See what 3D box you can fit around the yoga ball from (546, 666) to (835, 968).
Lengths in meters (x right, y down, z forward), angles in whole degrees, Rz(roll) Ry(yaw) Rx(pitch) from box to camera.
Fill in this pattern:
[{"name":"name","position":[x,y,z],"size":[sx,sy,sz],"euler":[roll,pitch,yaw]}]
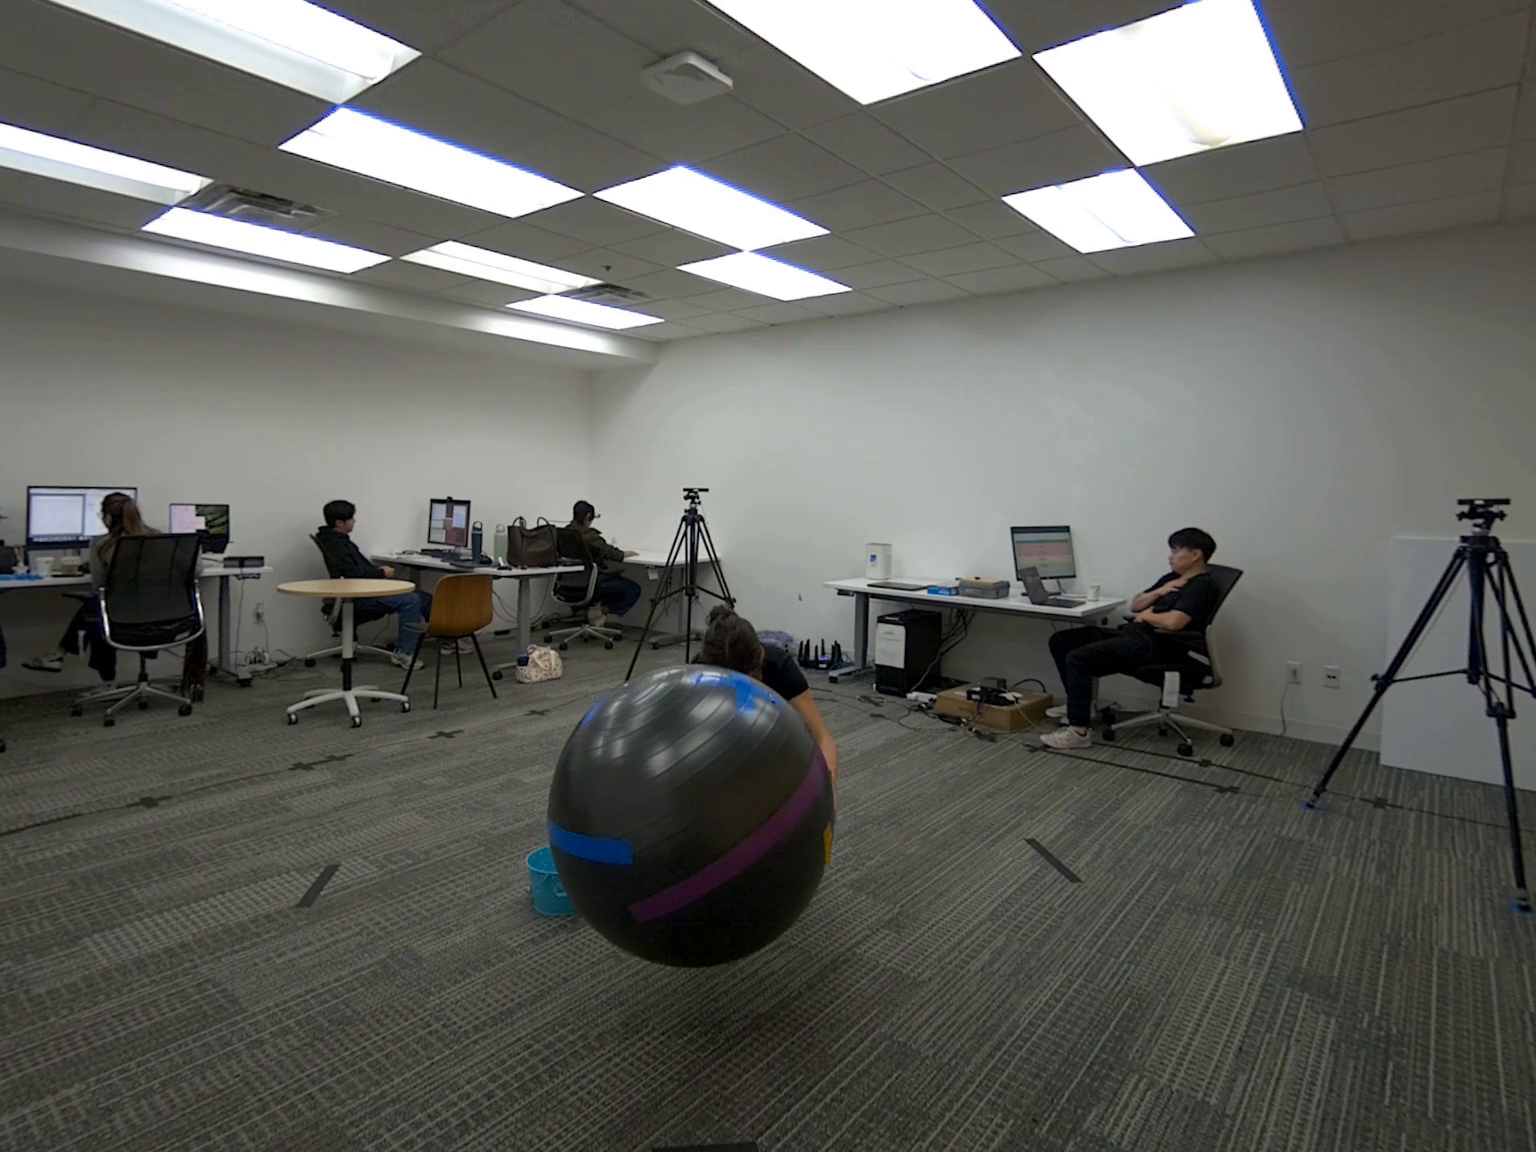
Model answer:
[{"name":"yoga ball","position":[-0.218,0.627,2.255],"size":[0.757,0.755,0.762],"euler":[1,4,-2]}]
